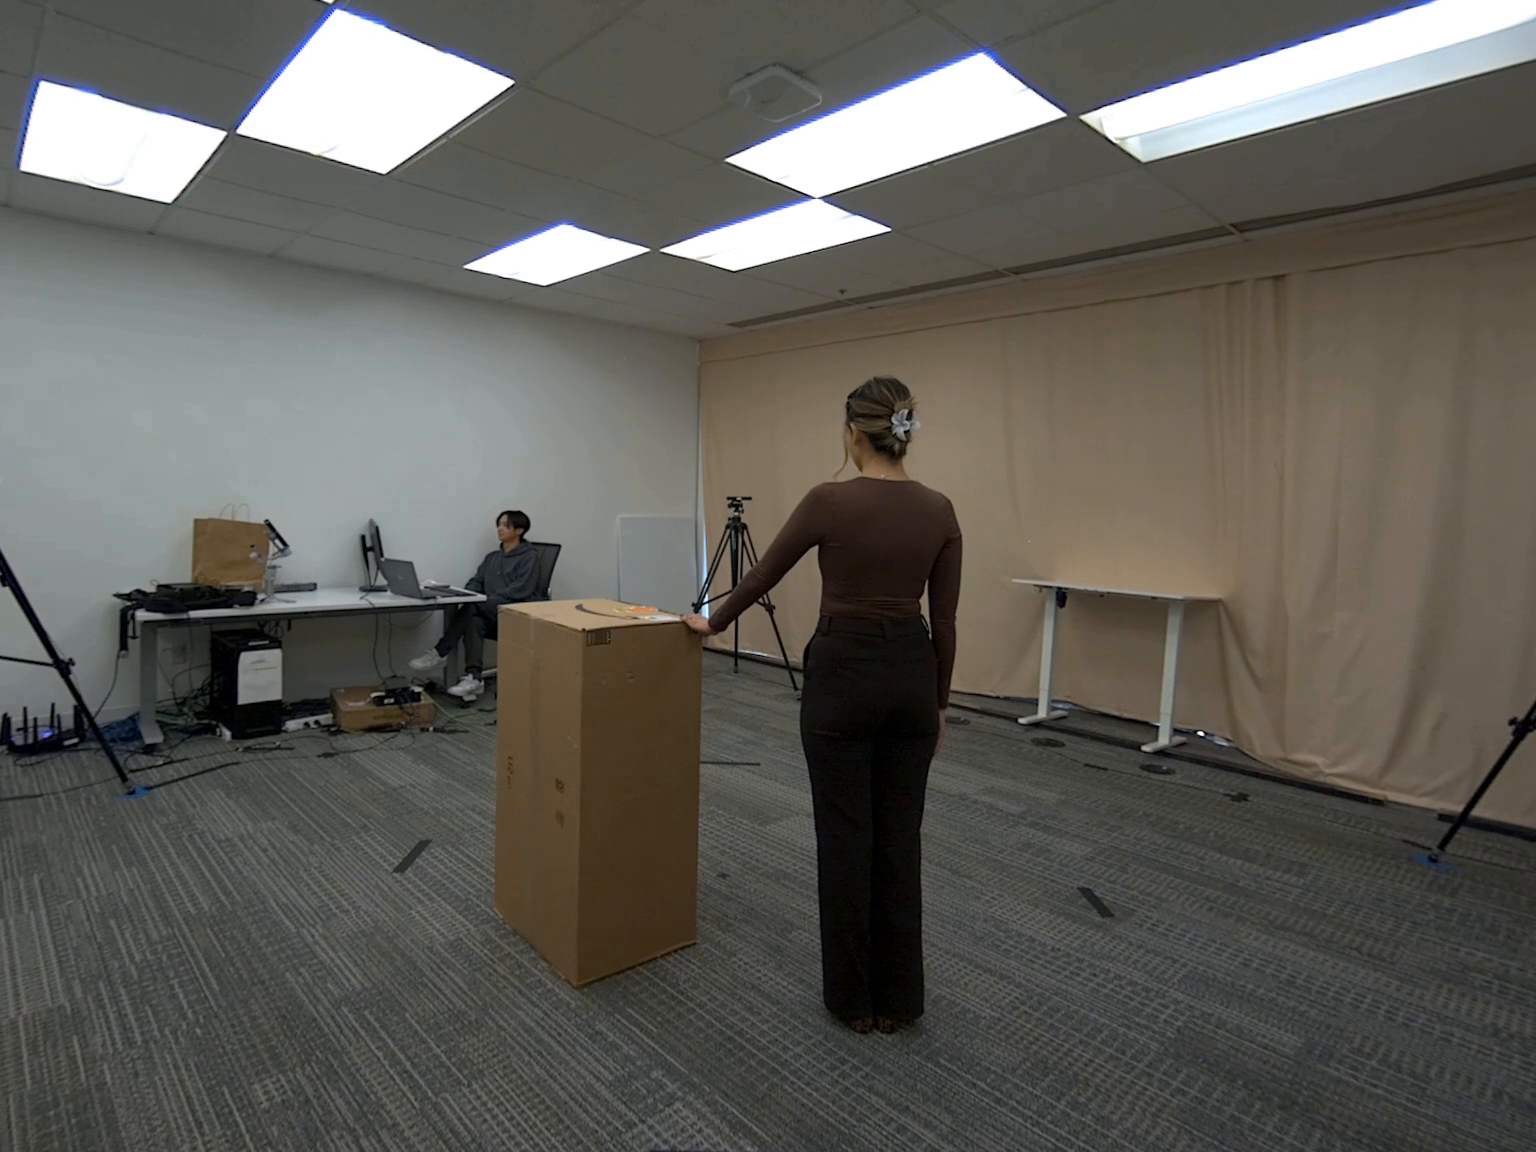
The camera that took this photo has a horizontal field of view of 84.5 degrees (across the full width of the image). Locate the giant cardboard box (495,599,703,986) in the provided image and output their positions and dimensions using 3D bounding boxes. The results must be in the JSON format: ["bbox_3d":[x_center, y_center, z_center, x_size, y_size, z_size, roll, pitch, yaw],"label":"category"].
[{"bbox_3d":[-0.561,0.625,2.696,0.436,1.025,0.598,0,3,-38],"label":"giant cardboard box"}]
